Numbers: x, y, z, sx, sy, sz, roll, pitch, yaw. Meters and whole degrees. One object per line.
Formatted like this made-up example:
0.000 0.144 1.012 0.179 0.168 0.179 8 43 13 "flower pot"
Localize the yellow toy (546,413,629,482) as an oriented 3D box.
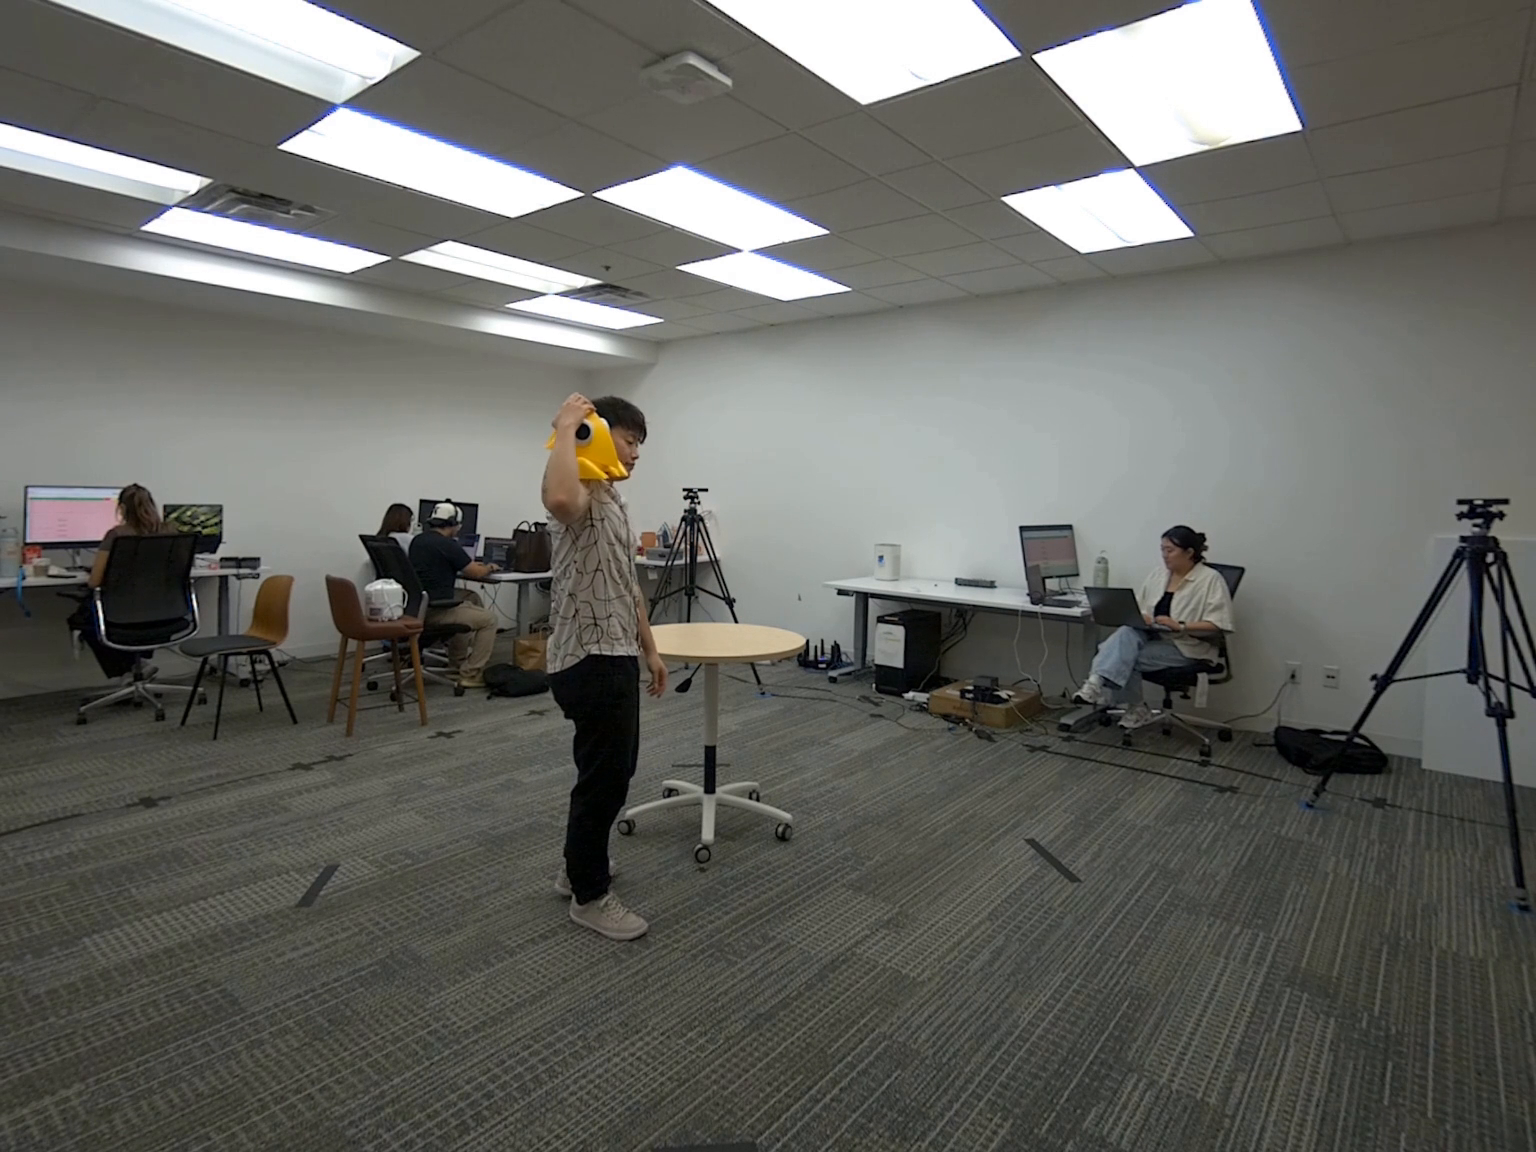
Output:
-0.526 -0.409 2.468 0.198 0.229 0.202 5 10 21 "yellow toy"
